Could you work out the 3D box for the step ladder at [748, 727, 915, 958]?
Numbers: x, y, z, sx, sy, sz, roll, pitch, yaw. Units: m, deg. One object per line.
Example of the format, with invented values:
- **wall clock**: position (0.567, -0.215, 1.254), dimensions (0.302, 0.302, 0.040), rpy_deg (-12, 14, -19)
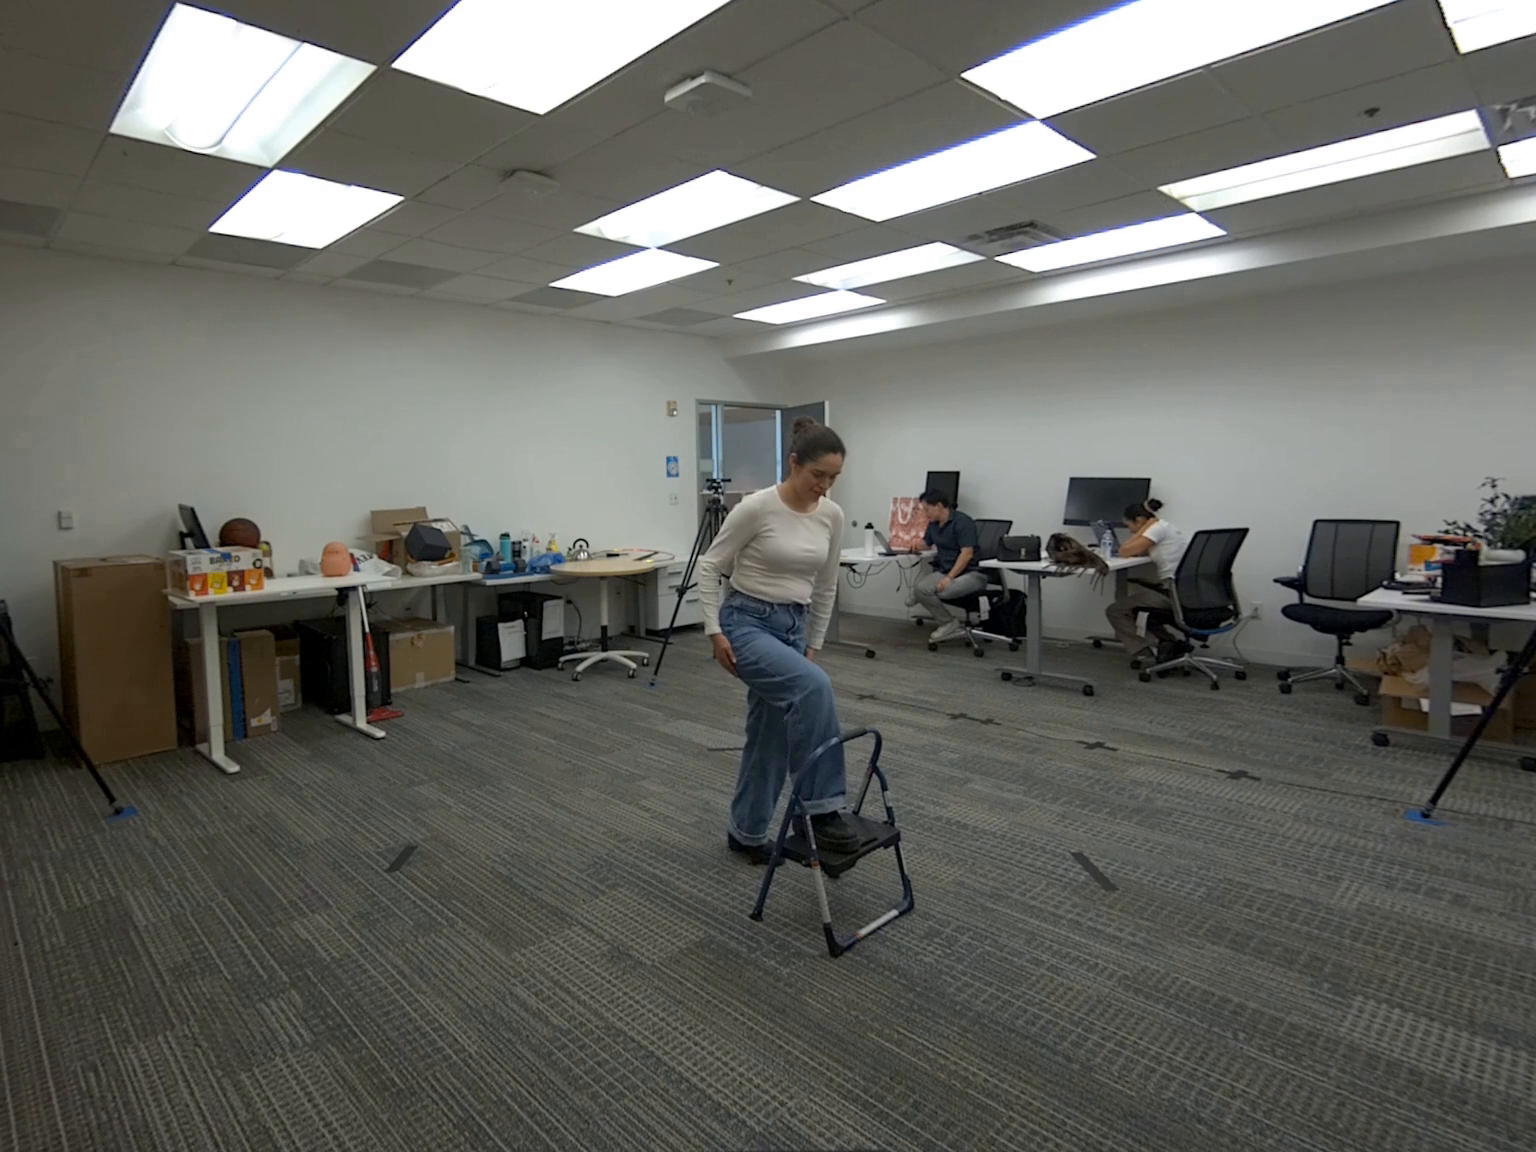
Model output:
- **step ladder**: position (0.207, 0.781, 2.728), dimensions (0.360, 0.604, 0.419), rpy_deg (3, 6, 44)
